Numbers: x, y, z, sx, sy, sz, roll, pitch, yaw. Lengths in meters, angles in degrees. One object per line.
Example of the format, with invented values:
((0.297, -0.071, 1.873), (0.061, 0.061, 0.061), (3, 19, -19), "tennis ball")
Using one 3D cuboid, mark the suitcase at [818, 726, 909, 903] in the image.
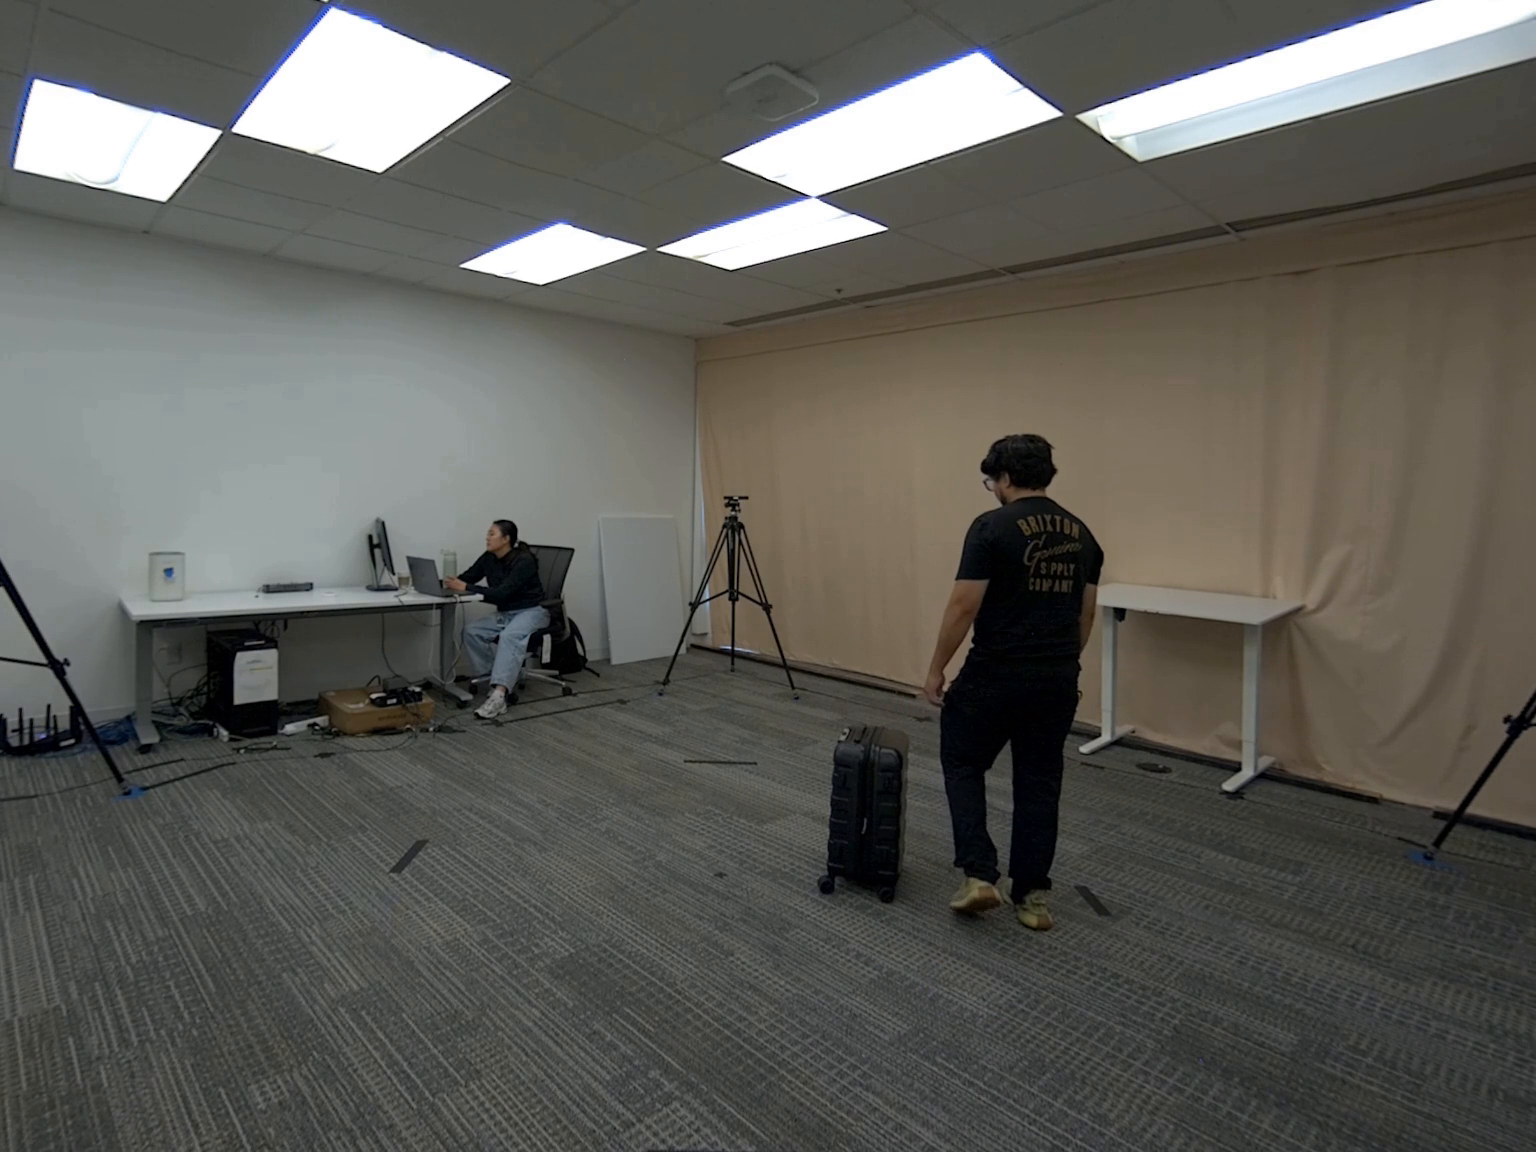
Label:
((0.372, 0.838, 3.088), (0.251, 0.548, 0.372), (4, 4, 13), "suitcase")
